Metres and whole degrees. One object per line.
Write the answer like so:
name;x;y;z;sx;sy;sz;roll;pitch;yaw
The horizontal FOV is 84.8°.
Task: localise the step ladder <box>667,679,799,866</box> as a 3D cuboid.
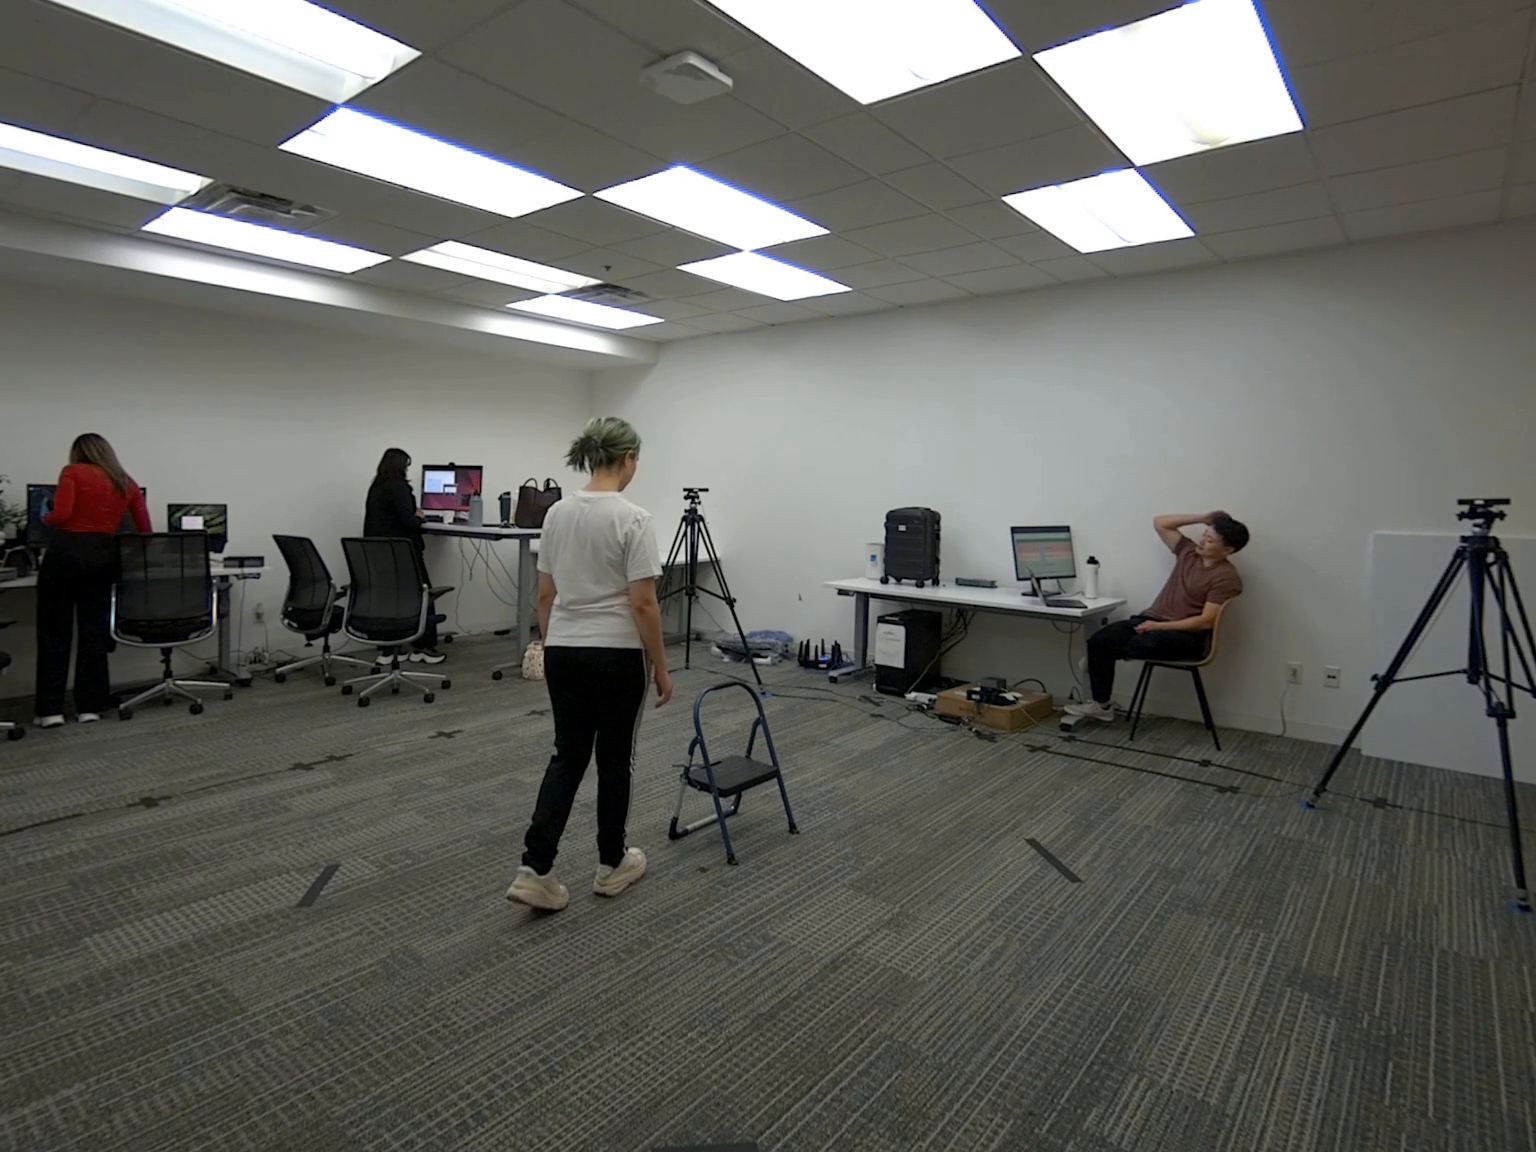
step ladder;-0.140;0.739;3.399;0.361;0.604;0.418;4;4;38
